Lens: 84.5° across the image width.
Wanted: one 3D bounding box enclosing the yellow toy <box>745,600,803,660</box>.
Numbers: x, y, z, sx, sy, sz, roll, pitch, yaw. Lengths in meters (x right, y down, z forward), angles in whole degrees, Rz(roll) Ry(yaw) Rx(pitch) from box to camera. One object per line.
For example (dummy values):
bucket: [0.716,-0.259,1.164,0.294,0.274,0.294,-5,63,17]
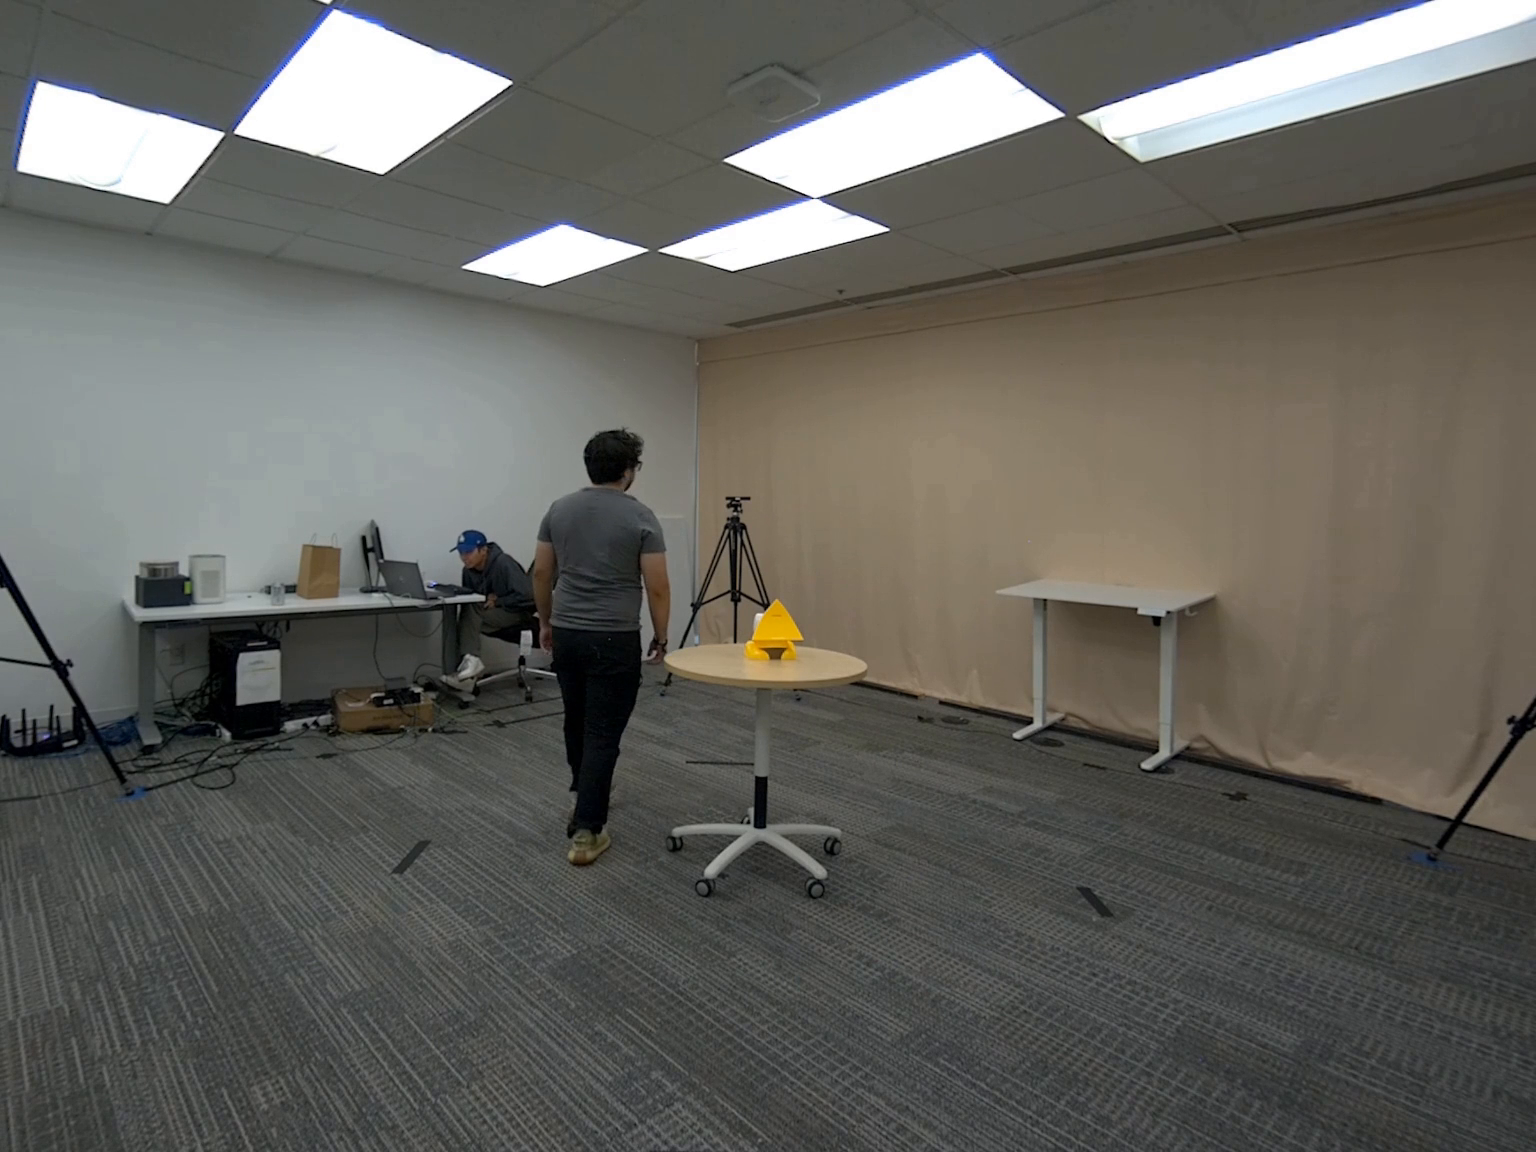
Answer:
yellow toy: [0.003,0.195,3.267,0.202,0.230,0.196,1,5,-16]
